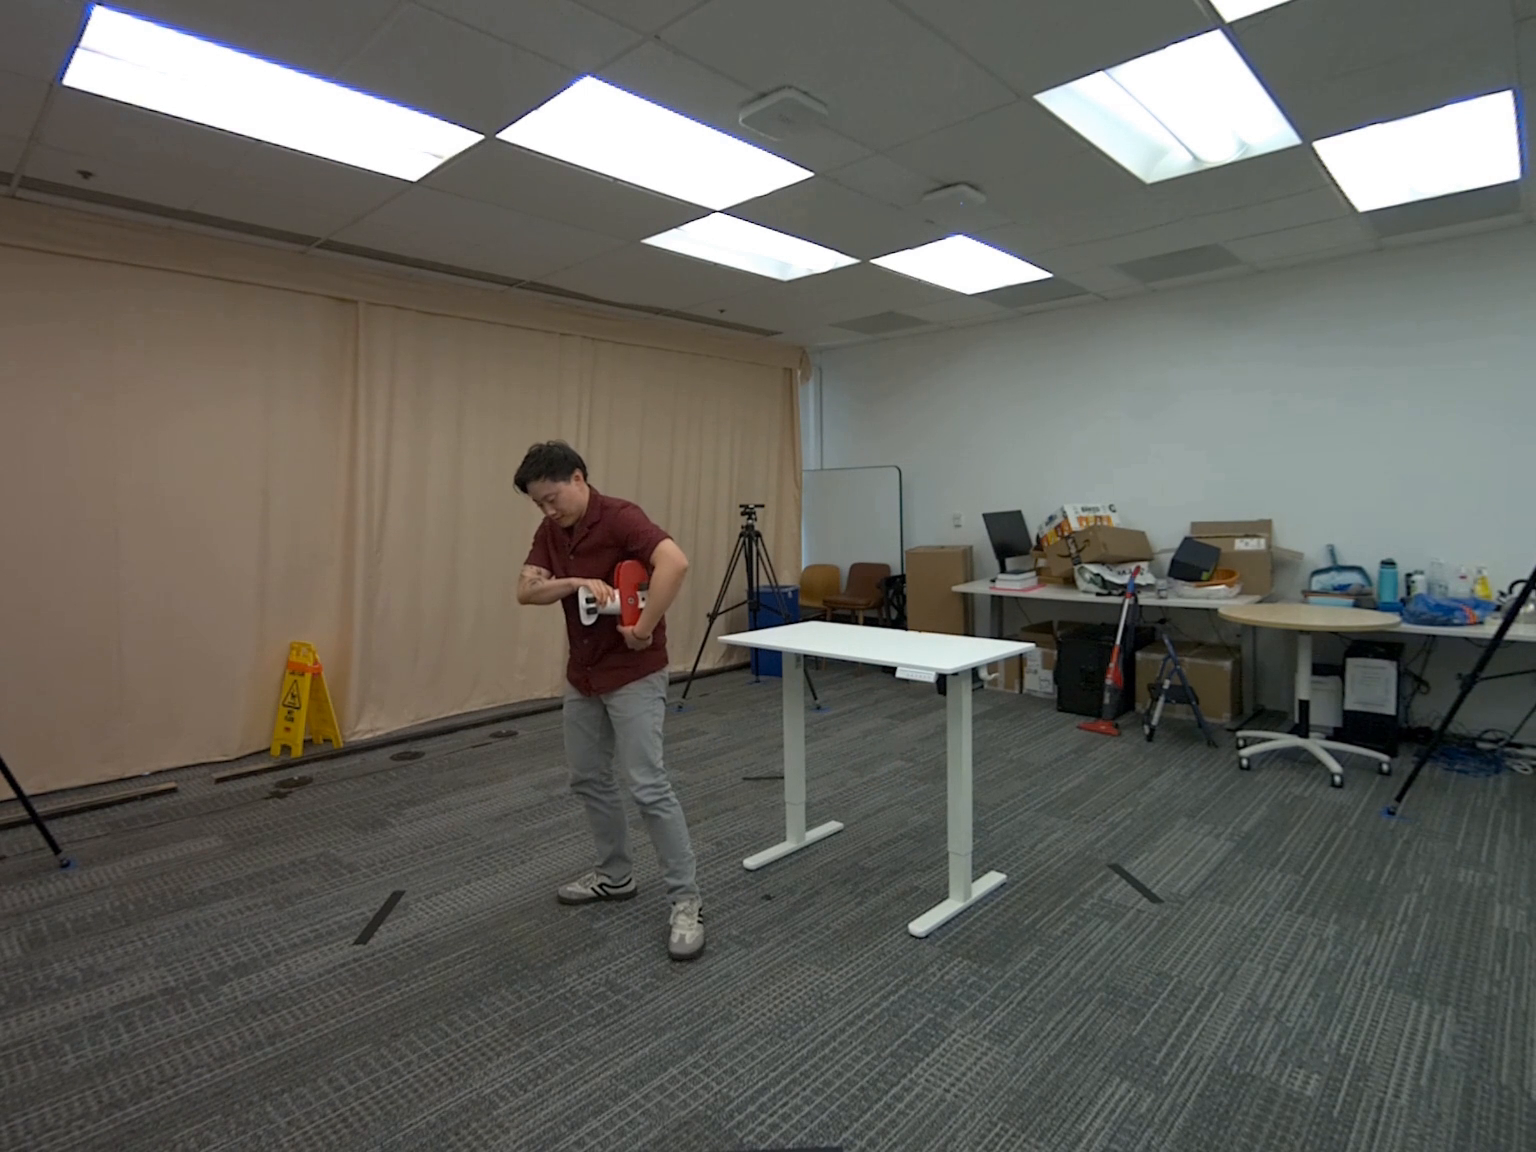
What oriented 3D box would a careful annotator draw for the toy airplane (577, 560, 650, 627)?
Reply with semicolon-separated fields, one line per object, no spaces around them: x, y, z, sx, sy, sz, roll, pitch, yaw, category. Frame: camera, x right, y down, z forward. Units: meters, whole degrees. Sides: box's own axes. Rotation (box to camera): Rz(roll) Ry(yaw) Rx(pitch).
-0.467;0.066;2.677;0.257;0.251;0.158;23;-9;-8;toy airplane
